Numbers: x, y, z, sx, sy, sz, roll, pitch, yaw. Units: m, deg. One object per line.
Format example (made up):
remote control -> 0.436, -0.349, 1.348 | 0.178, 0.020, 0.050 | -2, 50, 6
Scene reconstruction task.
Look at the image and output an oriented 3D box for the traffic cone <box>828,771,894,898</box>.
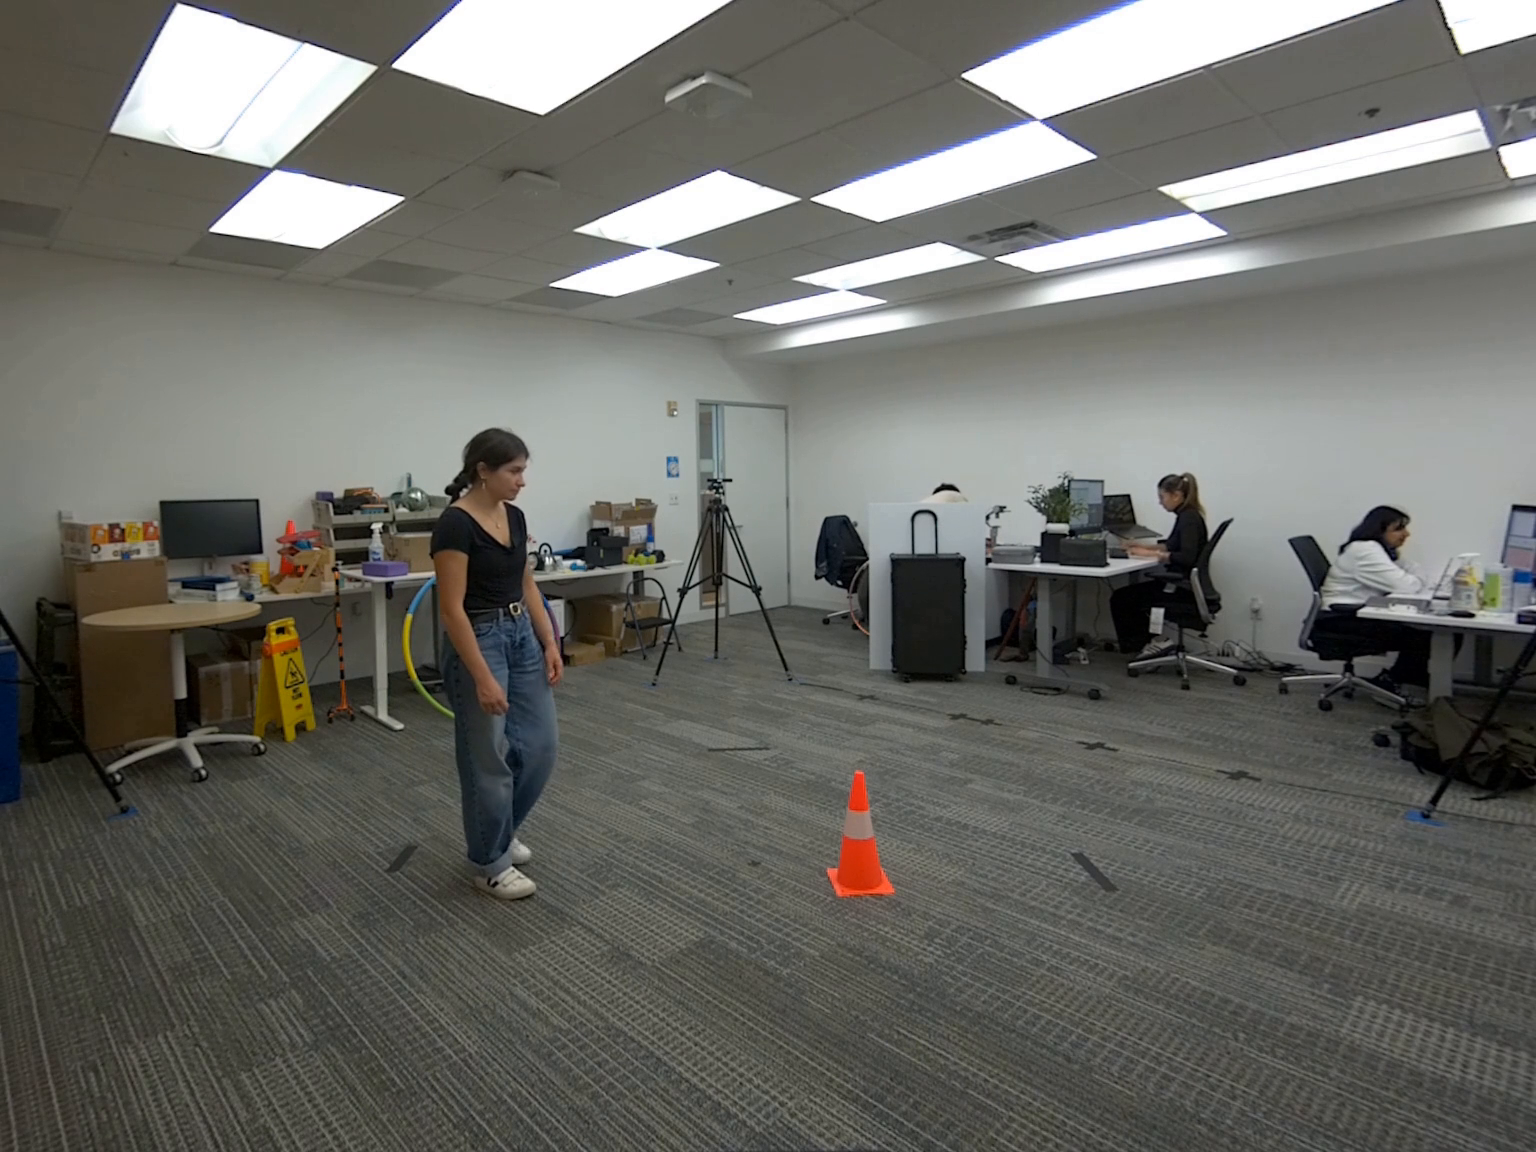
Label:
traffic cone -> 0.307, 0.867, 2.946 | 0.204, 0.383, 0.205 | -3, 3, -6
